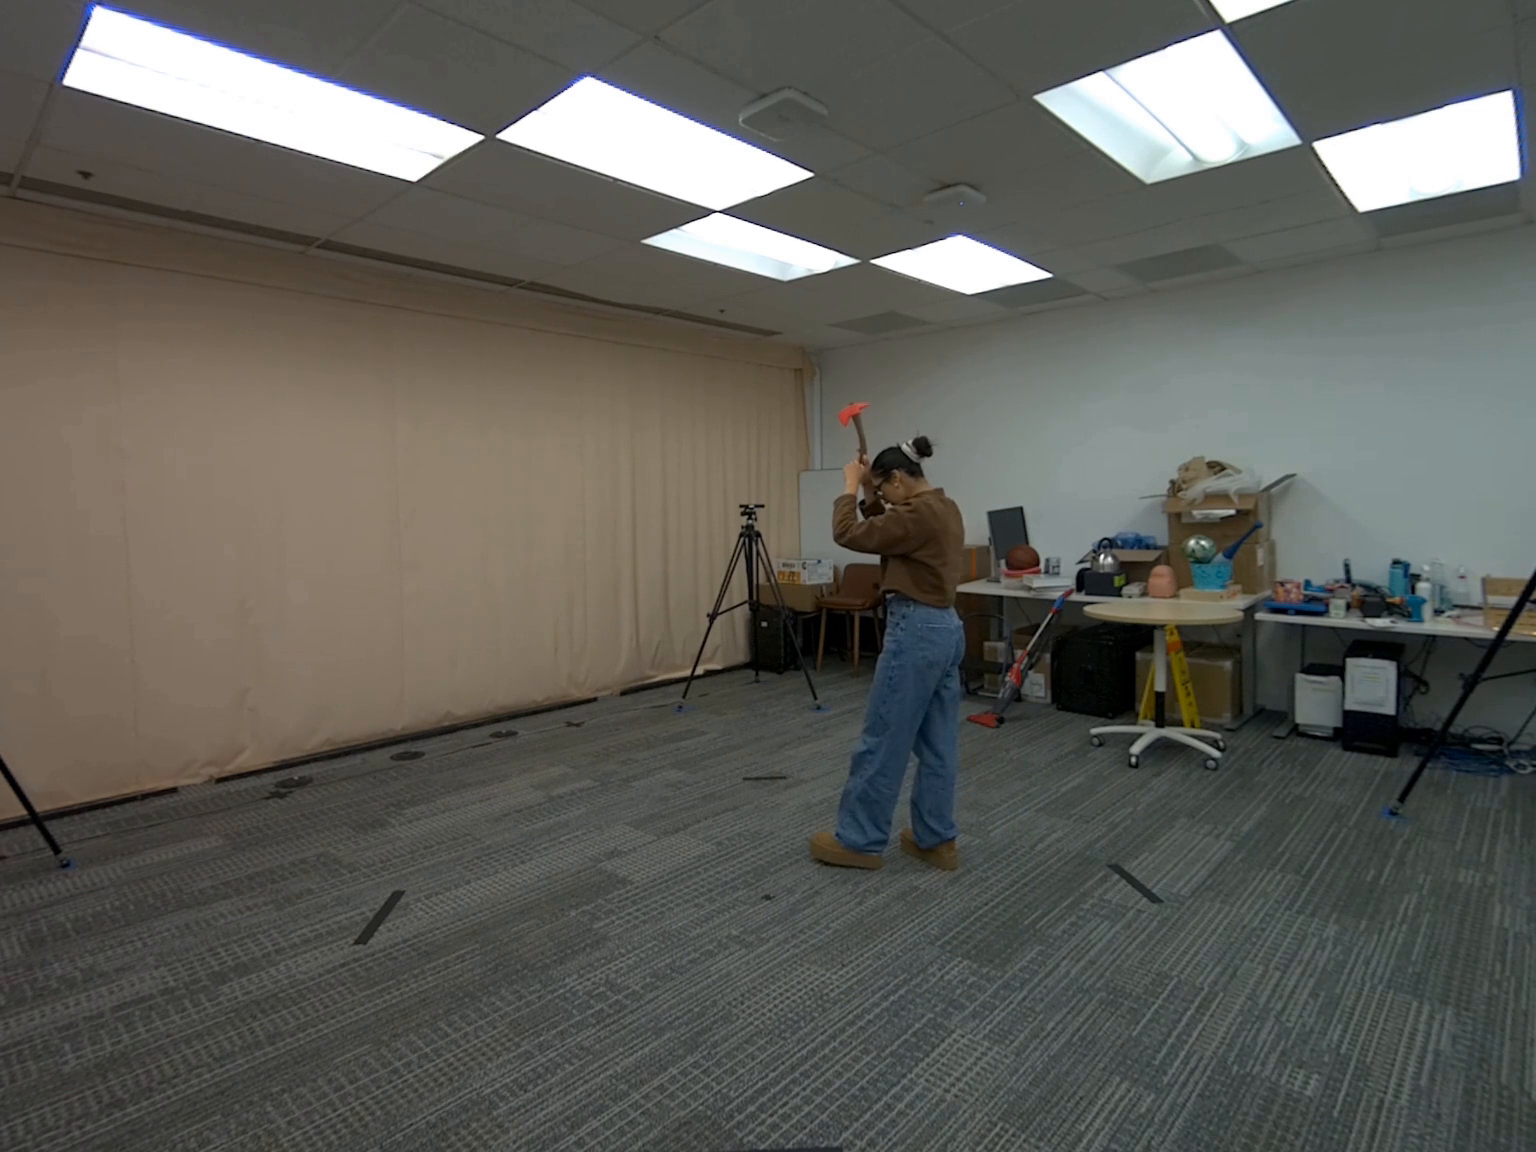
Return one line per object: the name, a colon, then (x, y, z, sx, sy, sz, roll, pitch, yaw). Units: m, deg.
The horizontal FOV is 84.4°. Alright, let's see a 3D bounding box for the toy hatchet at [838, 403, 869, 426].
toy hatchet: (0.340, -0.564, 3.383, 0.134, 0.270, 0.029, 2, 0, 22)
